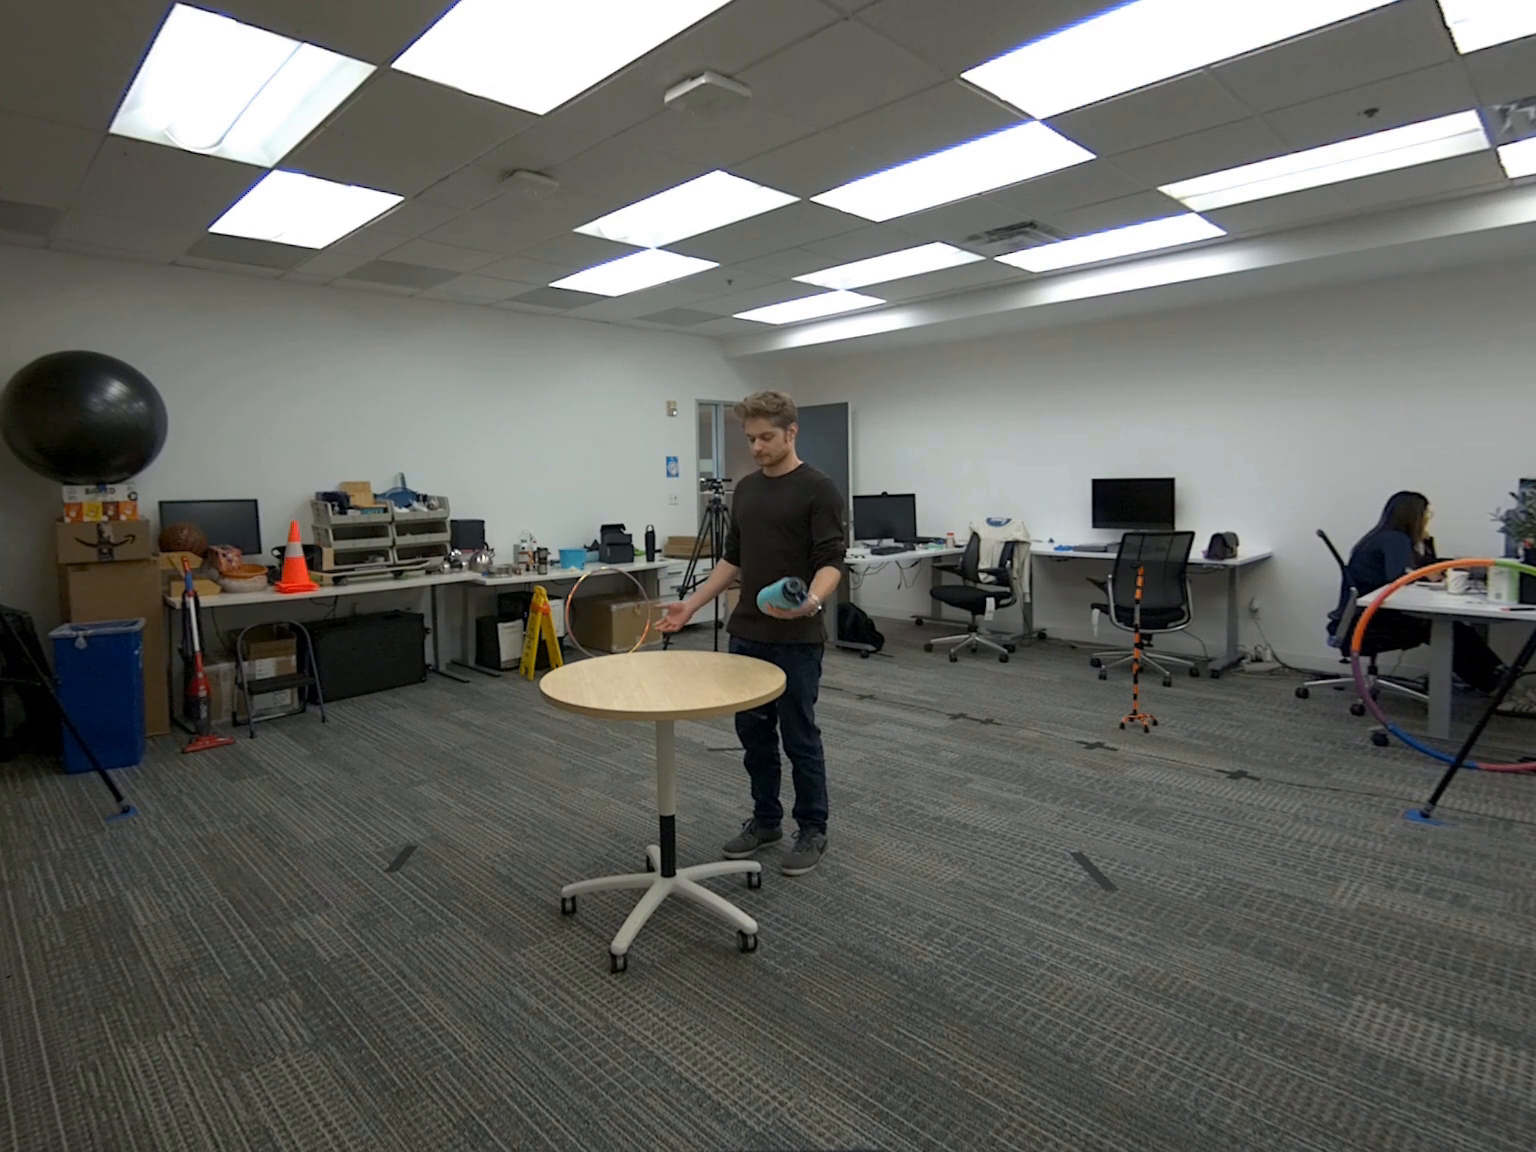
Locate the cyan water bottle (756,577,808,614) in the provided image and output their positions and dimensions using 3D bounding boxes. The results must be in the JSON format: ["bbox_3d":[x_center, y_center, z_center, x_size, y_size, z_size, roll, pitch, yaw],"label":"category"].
[{"bbox_3d":[0.030,0.043,2.702,0.091,0.093,0.285,-2,-8,-16],"label":"cyan water bottle"}]
